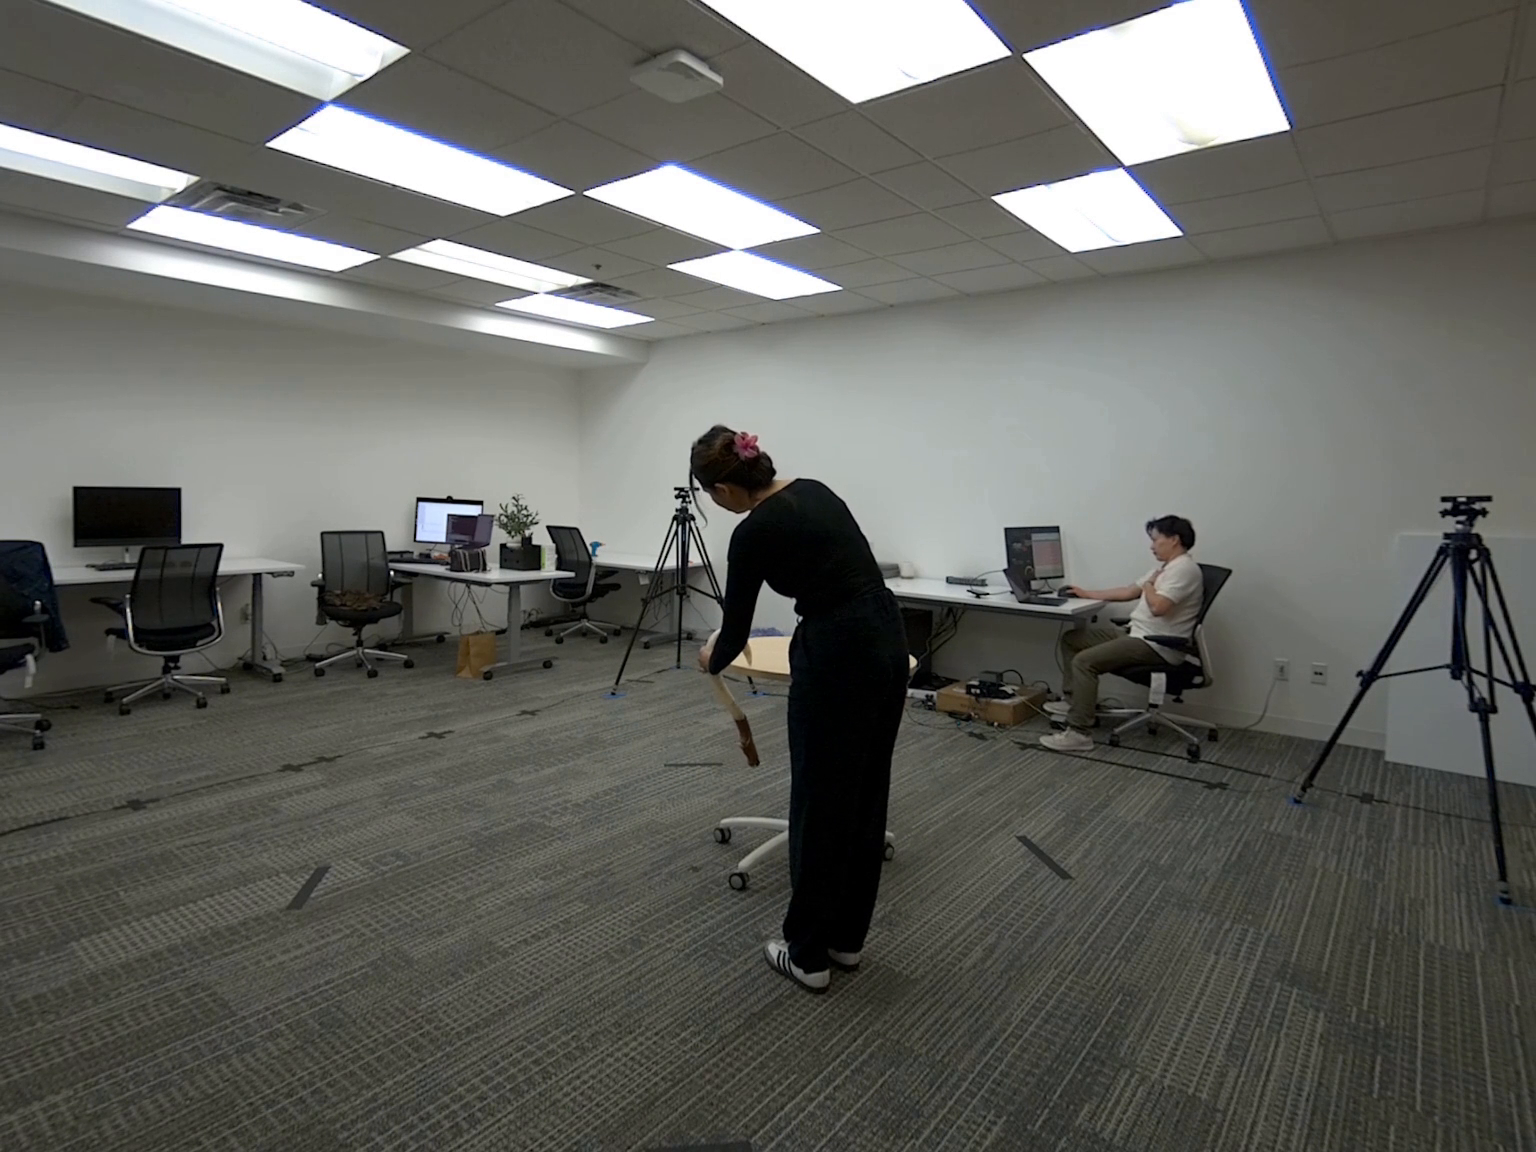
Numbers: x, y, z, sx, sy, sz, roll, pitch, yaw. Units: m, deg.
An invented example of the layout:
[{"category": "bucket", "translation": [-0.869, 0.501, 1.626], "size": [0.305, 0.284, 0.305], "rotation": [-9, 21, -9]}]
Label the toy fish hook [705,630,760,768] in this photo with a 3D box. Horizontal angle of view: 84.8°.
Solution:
[{"category": "toy fish hook", "translation": [-0.095, 0.393, 2.836], "size": [0.050, 0.495, 0.223], "rotation": [0, 27, 42]}]
